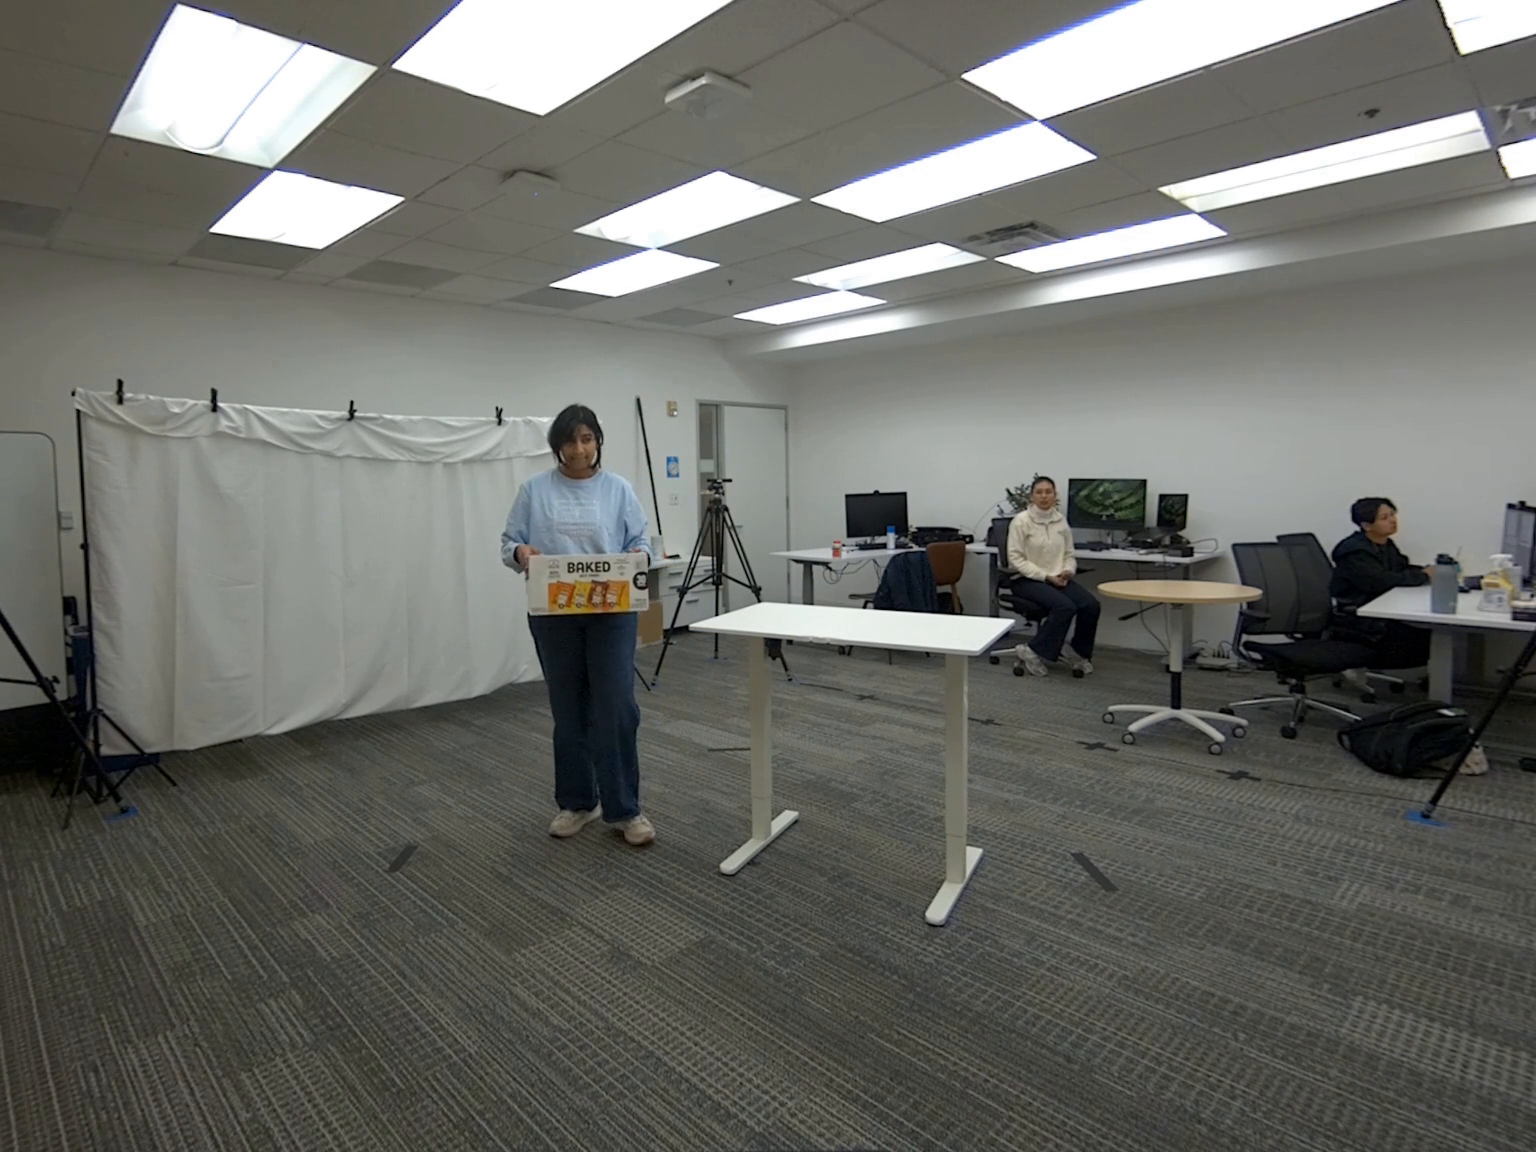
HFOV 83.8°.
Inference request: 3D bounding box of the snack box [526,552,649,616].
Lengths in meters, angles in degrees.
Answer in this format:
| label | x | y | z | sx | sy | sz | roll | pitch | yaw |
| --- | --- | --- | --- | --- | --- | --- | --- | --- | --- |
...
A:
| label | x | y | z | sx | sy | sz | roll | pitch | yaw |
| --- | --- | --- | --- | --- | --- | --- | --- | --- | --- |
| snack box | -0.654 | 0.028 | 3.074 | 0.400 | 0.206 | 0.345 | -2 | 0 | -15 |
